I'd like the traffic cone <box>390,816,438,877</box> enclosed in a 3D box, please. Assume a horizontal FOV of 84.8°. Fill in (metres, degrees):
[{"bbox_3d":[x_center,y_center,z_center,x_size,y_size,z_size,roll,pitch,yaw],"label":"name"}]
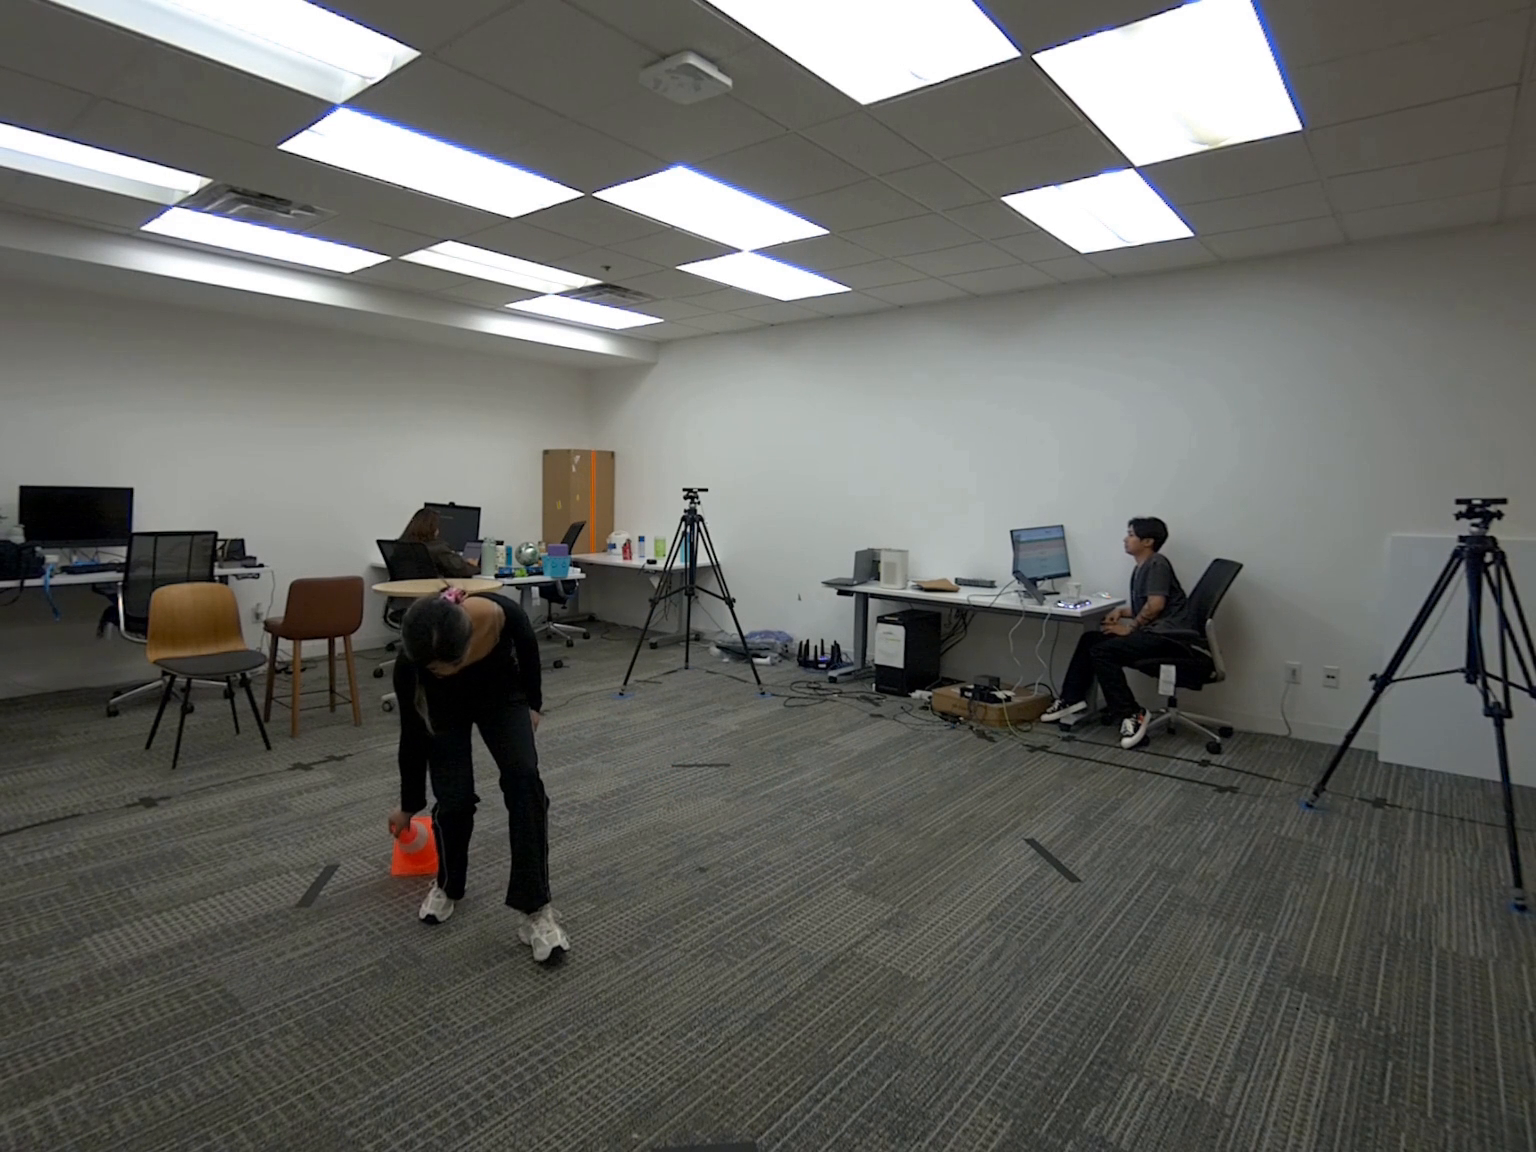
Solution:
[{"bbox_3d":[-1.244,0.889,2.920,0.204,0.208,0.376,0,-27,-6],"label":"traffic cone"}]
